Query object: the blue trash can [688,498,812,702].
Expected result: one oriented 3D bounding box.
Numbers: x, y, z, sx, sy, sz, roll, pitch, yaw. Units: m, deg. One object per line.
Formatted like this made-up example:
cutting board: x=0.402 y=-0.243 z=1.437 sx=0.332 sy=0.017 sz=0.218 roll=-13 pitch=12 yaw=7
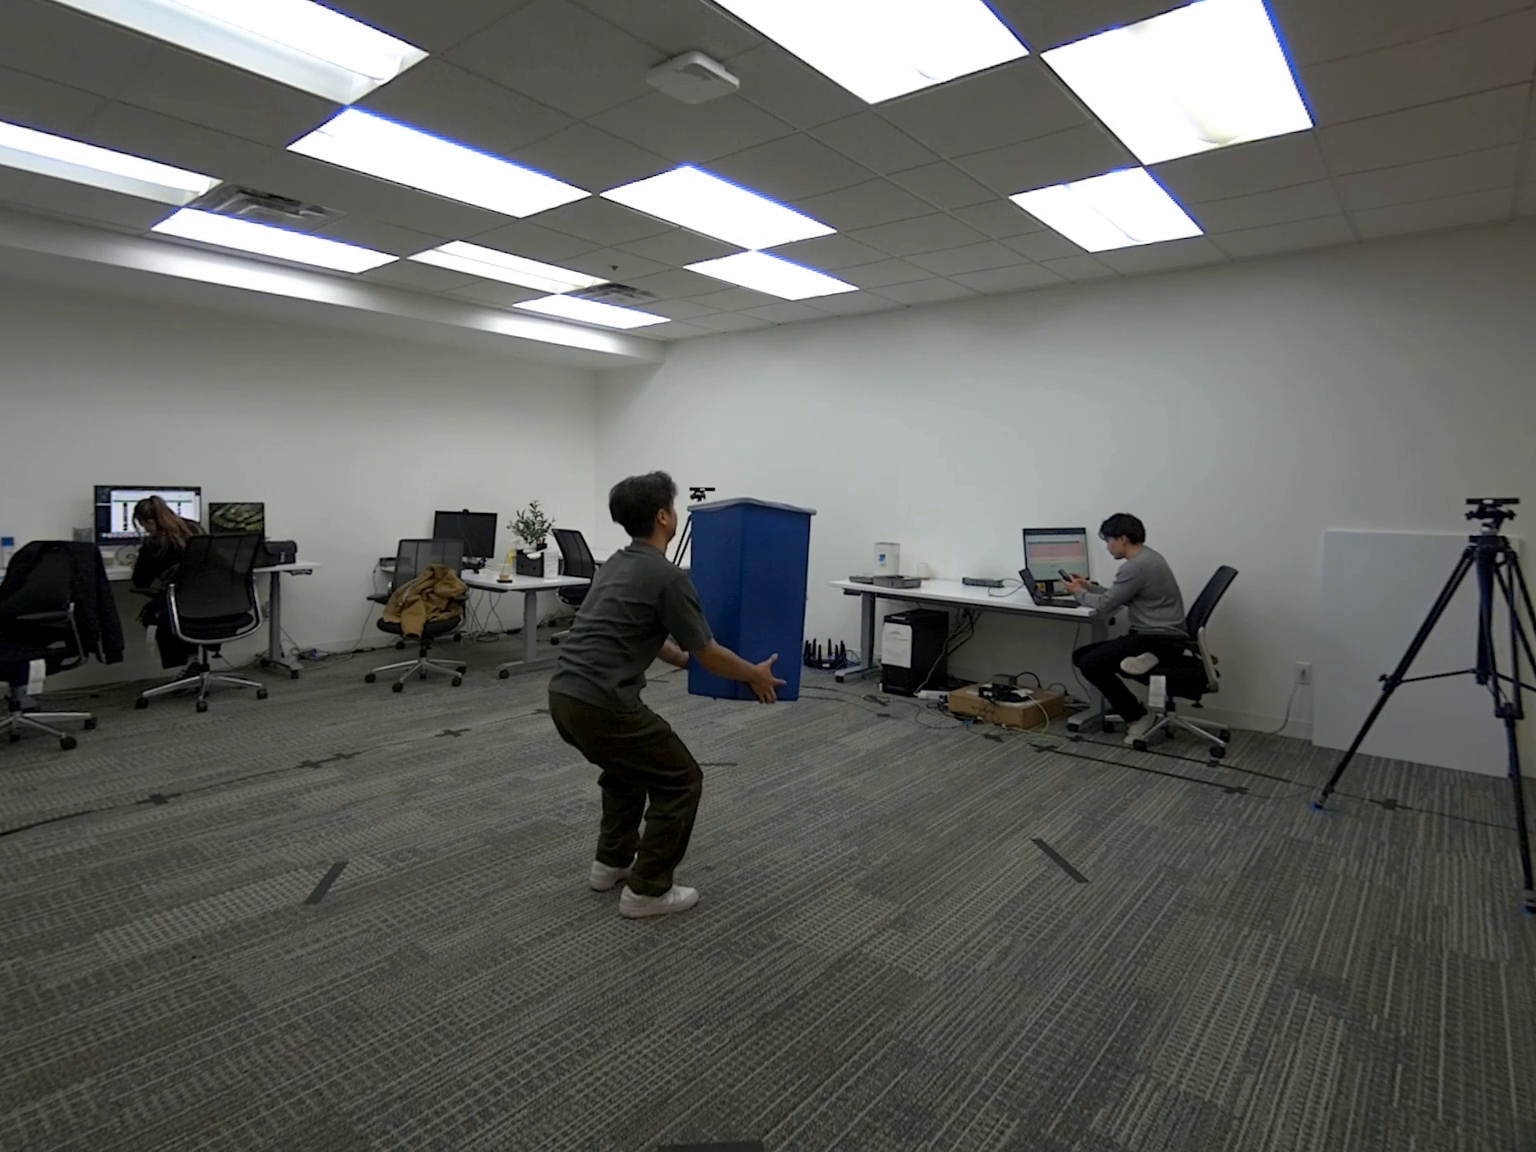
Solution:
blue trash can: x=-0.098 y=0.089 z=3.184 sx=0.365 sy=0.718 sz=0.385 roll=8 pitch=-8 yaw=-38
